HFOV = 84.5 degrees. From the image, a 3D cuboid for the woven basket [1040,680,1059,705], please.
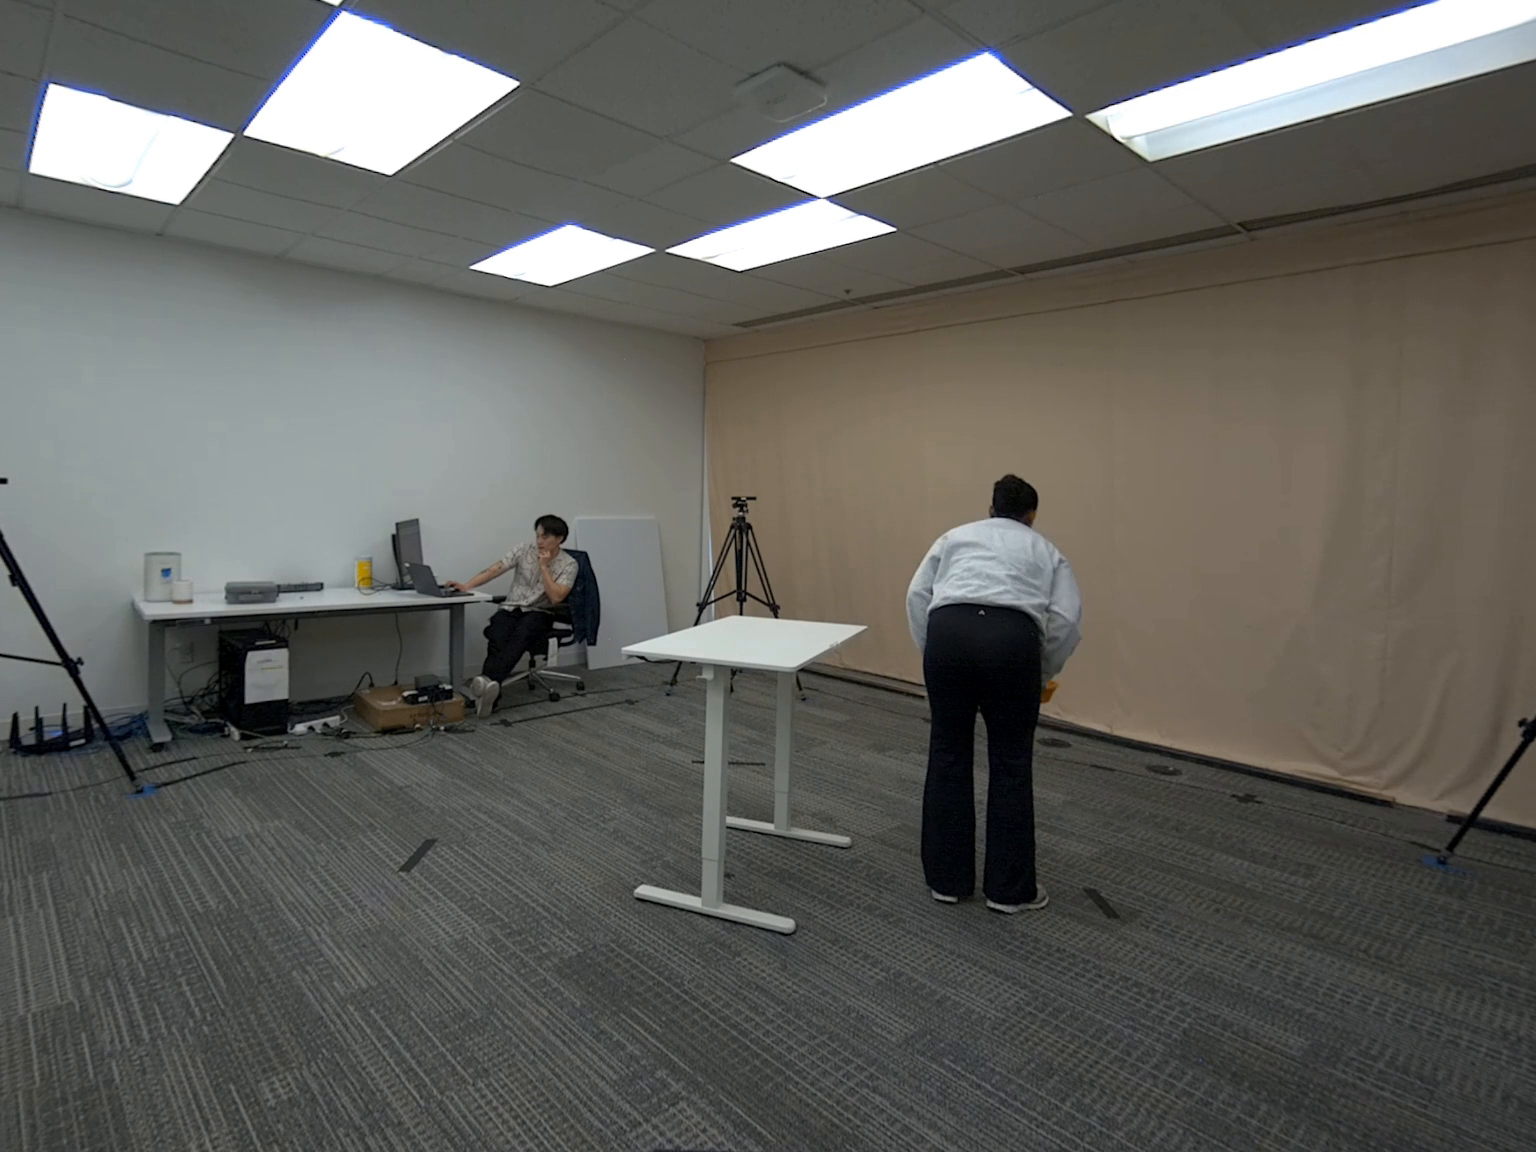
[{"bbox_3d":[0.942,0.465,3.224,0.350,0.073,0.253,1,5,-2],"label":"woven basket"}]
